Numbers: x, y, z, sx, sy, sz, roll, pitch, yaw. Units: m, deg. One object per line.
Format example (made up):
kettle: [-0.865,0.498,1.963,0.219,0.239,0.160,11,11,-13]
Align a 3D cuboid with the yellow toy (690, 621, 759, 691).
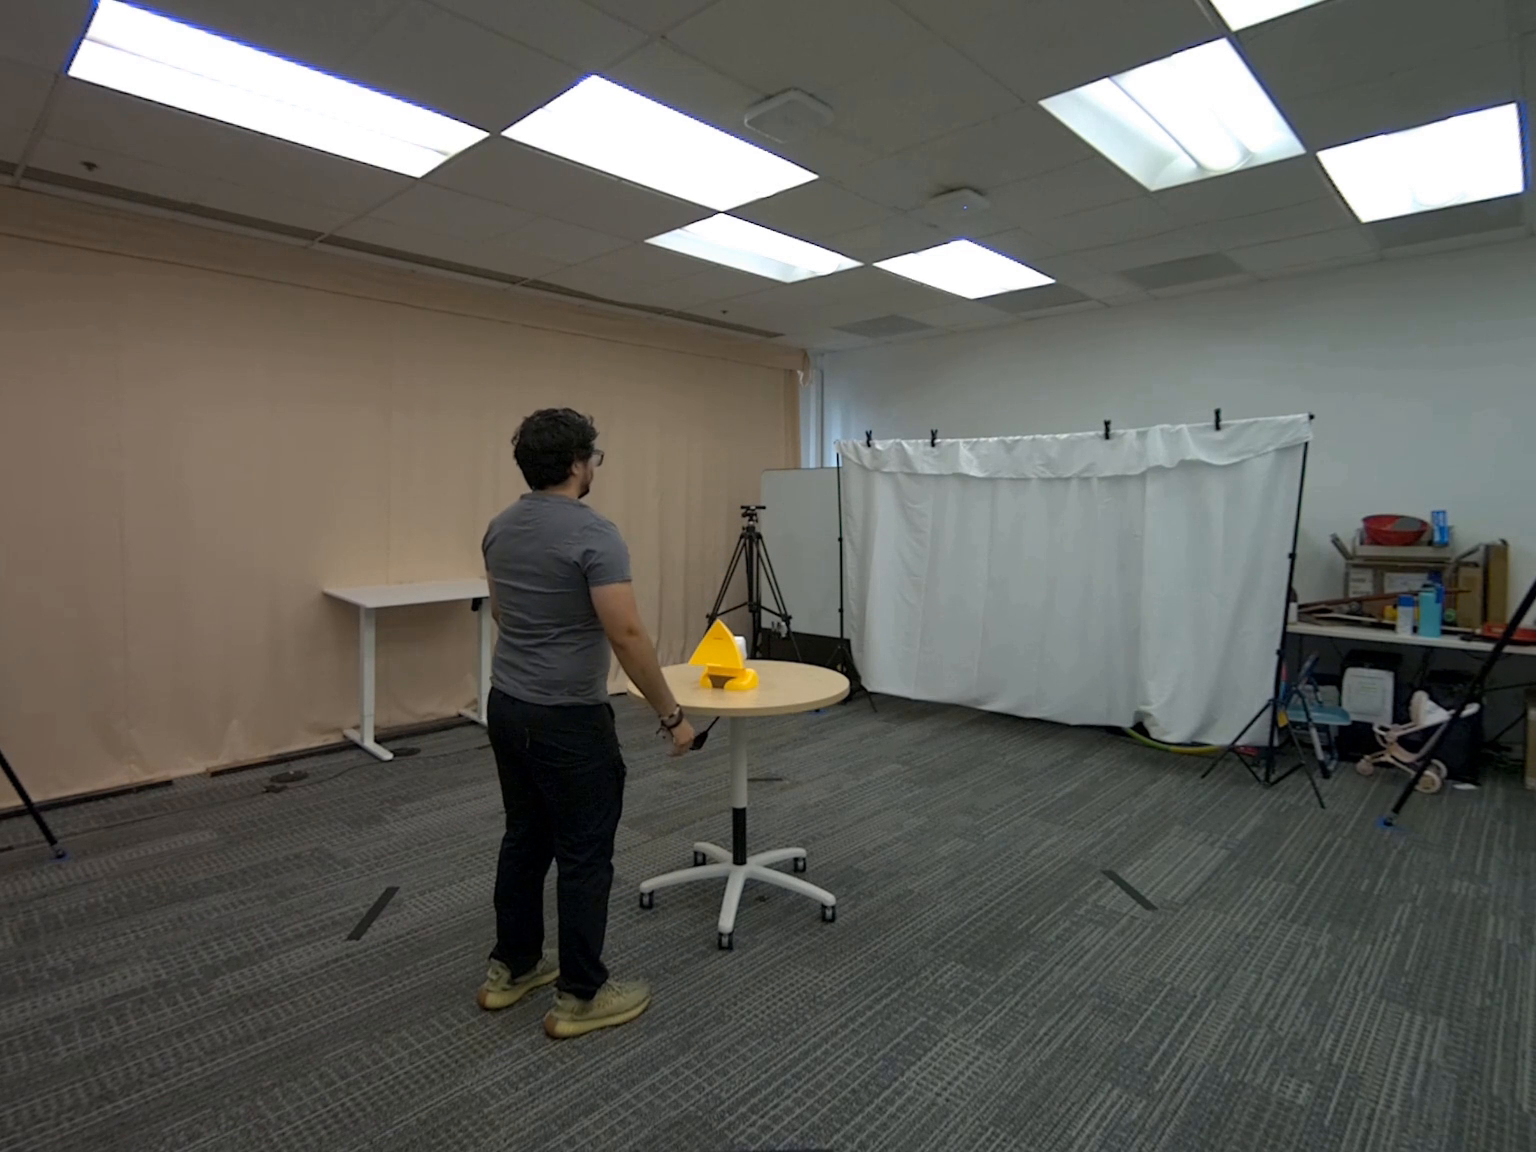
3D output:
yellow toy: [-0.136,0.256,2.862,0.210,0.230,0.188,1,4,27]
